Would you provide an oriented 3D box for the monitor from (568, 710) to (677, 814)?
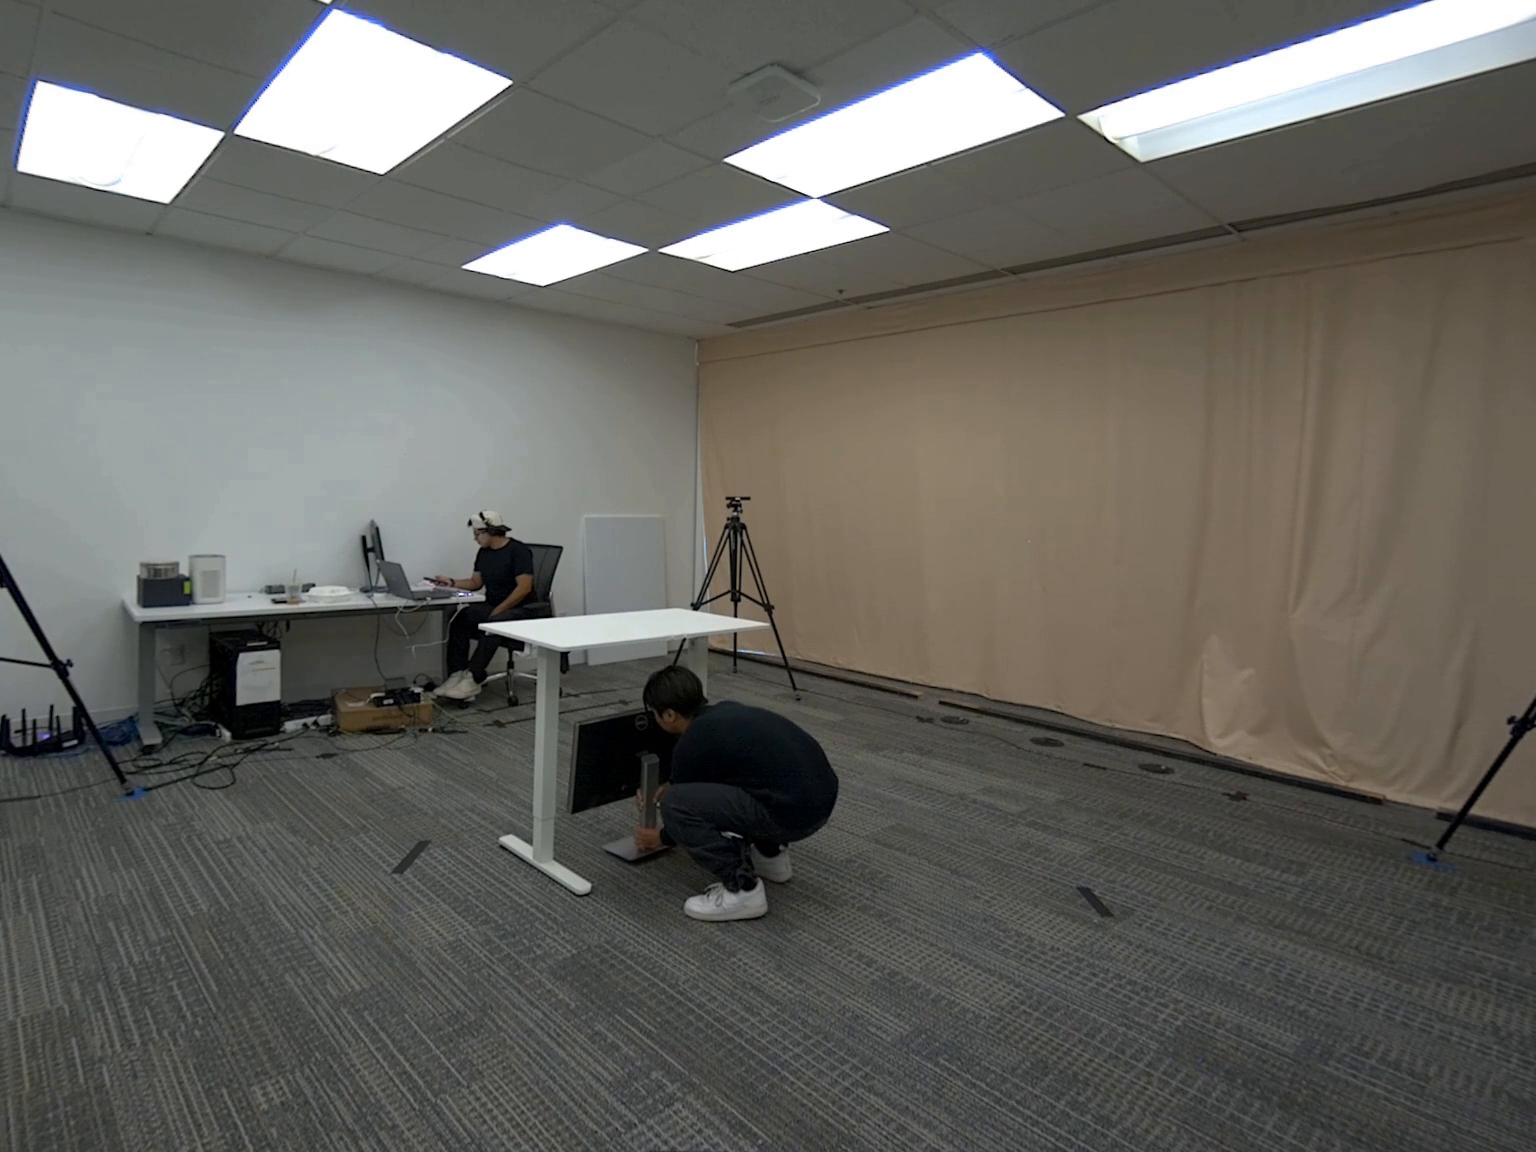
[{"bbox_3d":[-0.509,0.779,3.286,0.518,0.516,0.178,-5,-1,-41],"label":"monitor"}]
